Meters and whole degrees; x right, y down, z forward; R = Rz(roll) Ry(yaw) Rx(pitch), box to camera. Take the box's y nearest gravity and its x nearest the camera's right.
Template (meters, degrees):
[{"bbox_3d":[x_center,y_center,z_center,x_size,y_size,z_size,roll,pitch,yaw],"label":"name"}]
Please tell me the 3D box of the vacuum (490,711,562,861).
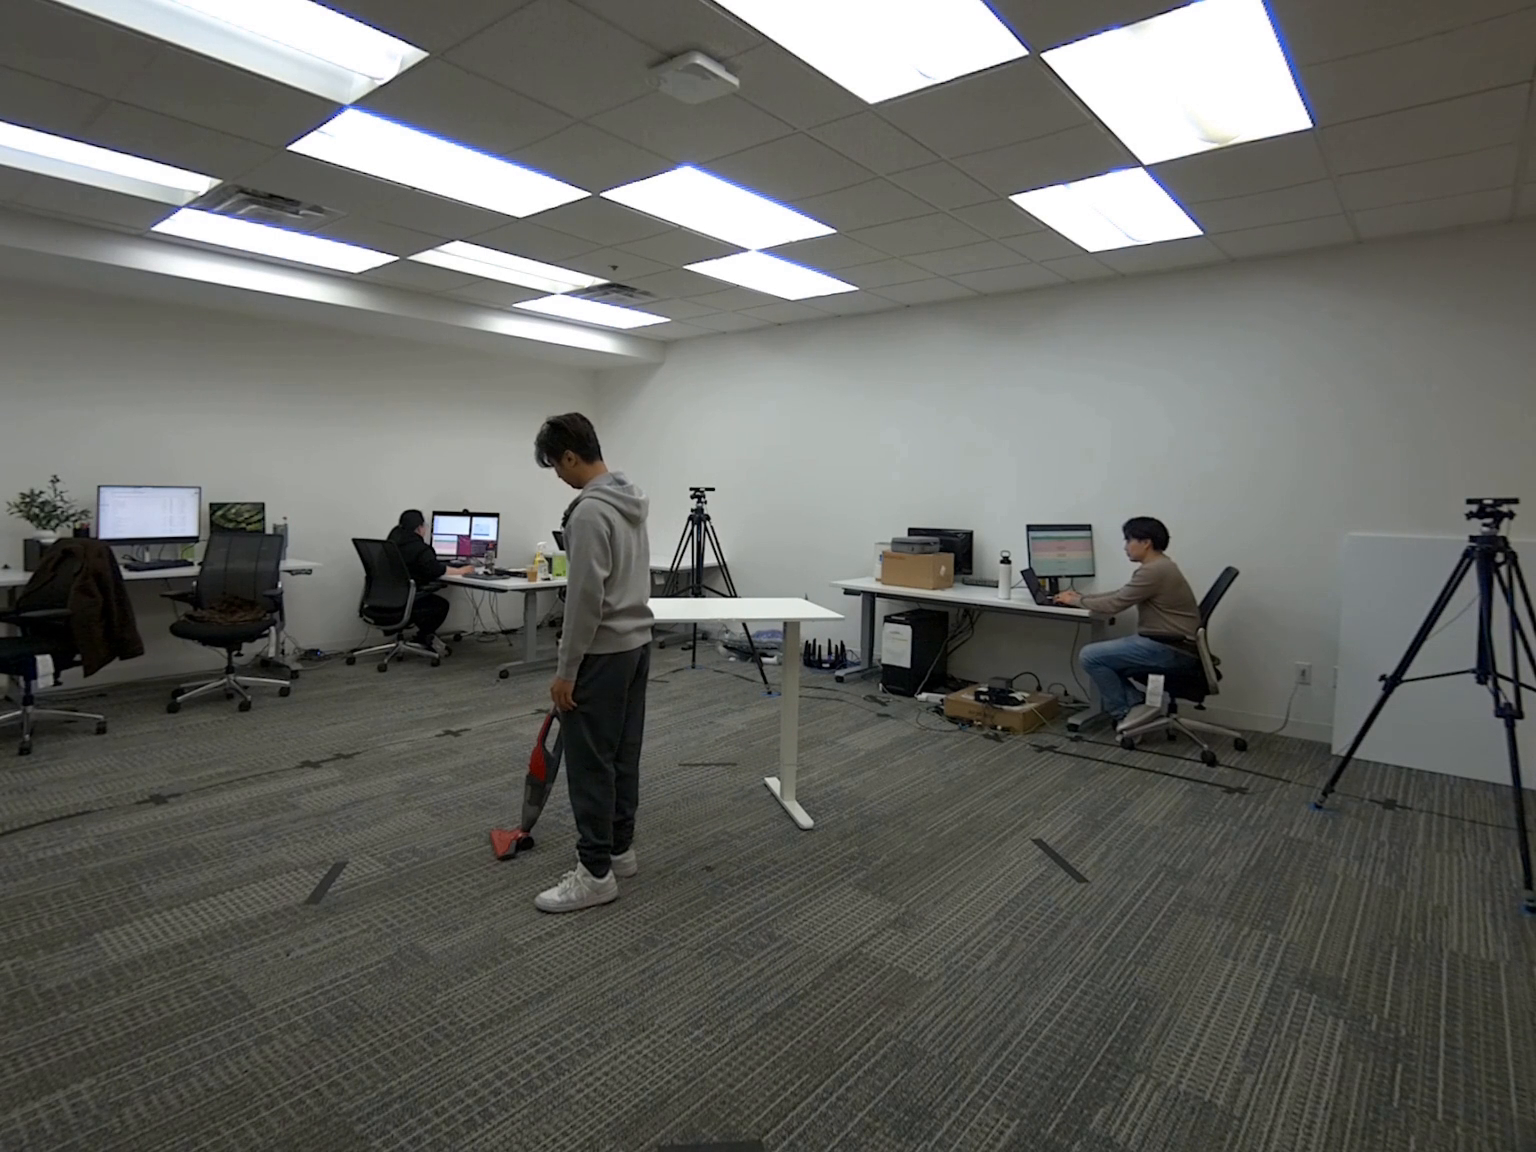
[{"bbox_3d":[-0.827,0.549,3.338,0.139,1.053,0.260,24,-8,-30],"label":"vacuum"}]
